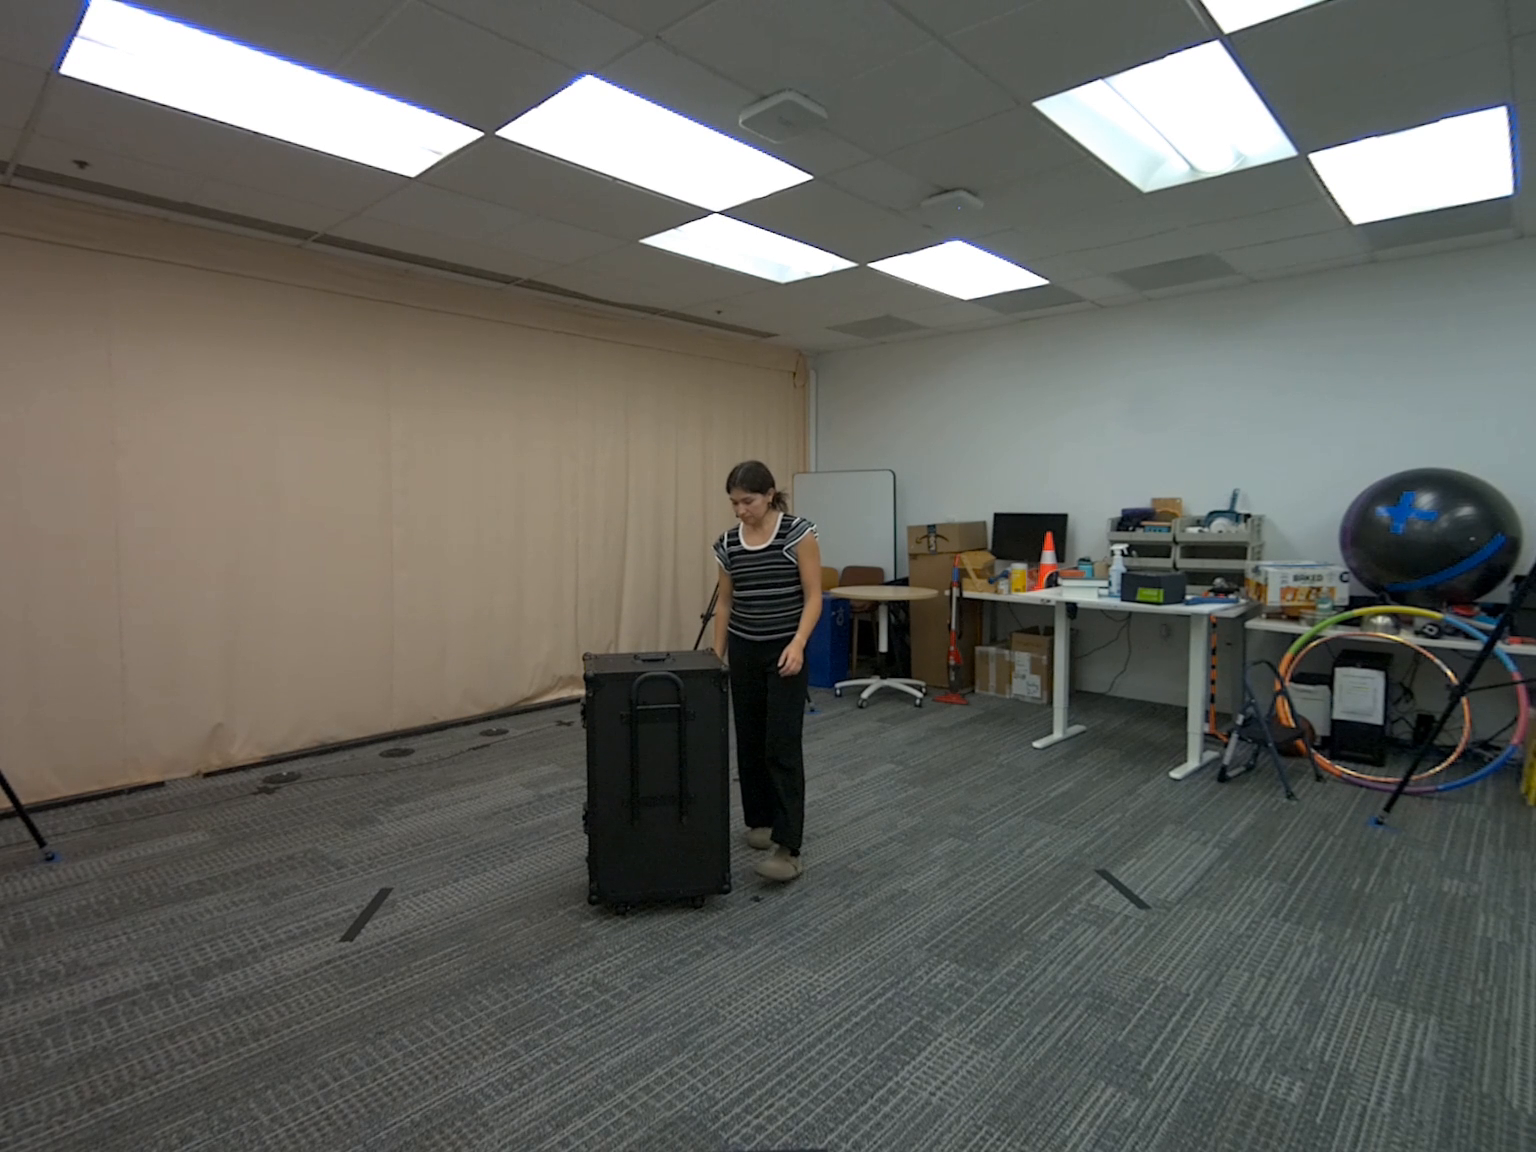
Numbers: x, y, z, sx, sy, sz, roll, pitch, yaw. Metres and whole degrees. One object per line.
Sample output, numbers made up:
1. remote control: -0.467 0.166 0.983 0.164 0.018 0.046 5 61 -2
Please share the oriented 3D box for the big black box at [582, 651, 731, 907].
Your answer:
1. big black box: -0.394 0.720 2.976 0.516 0.859 0.401 -1 4 -10
